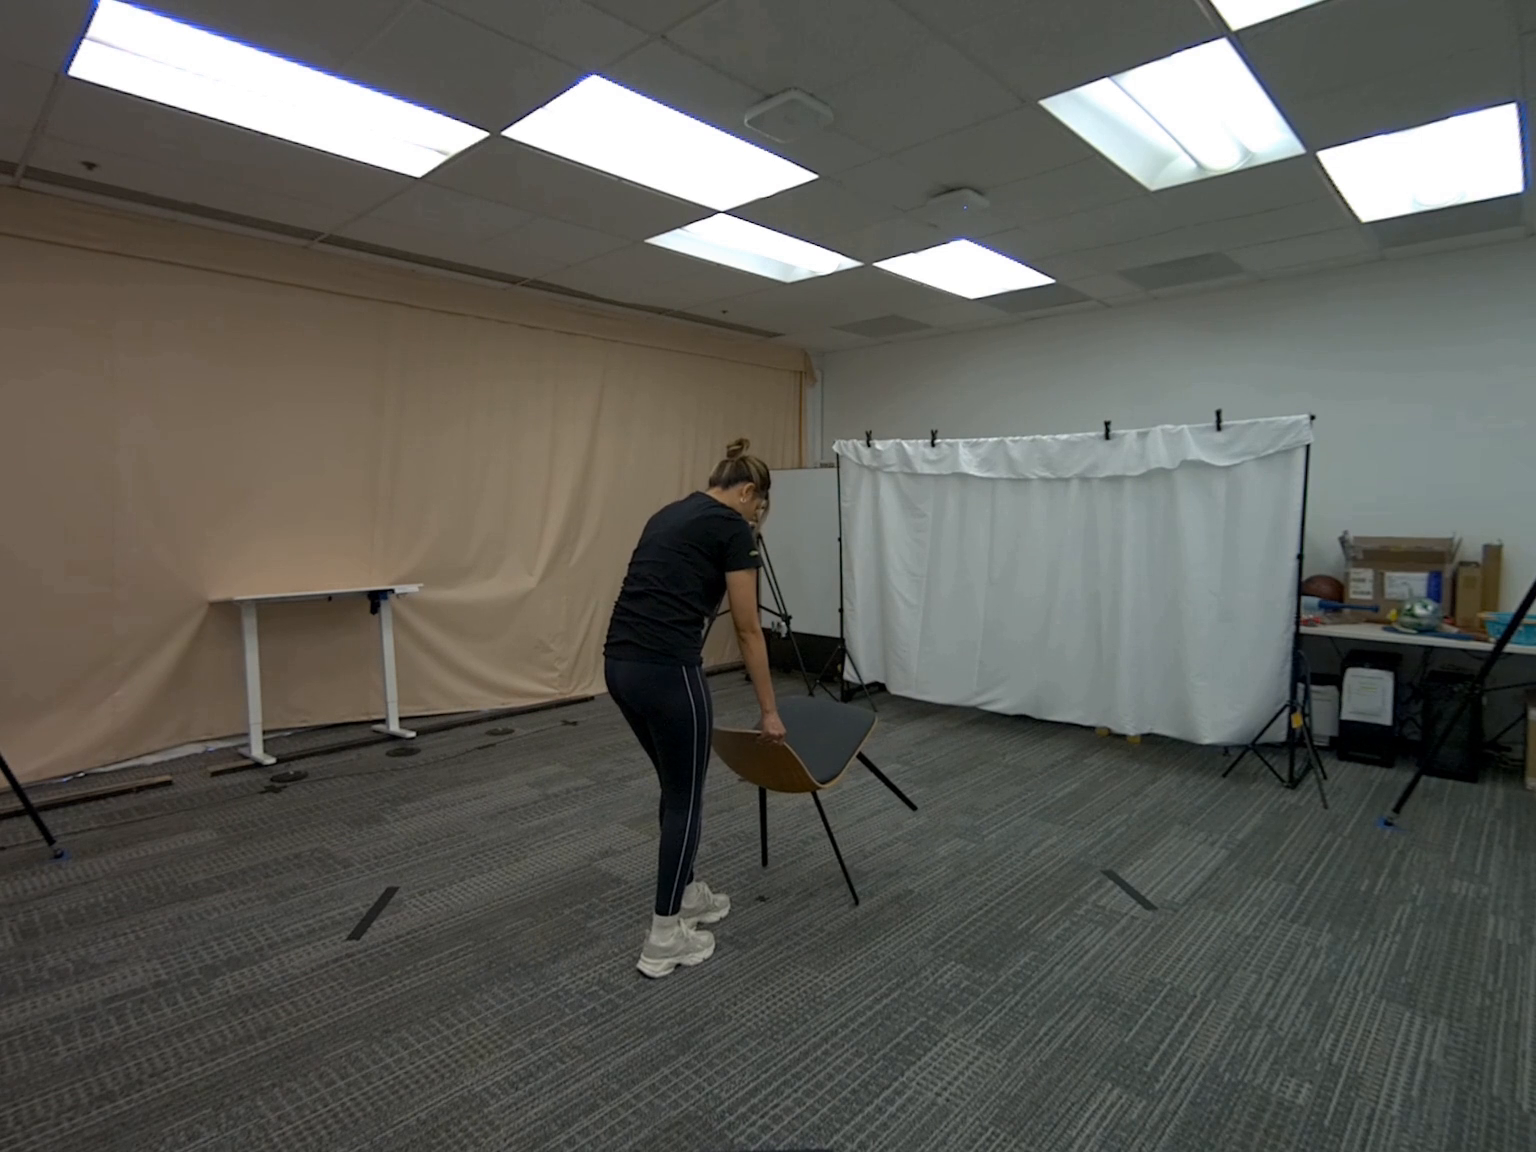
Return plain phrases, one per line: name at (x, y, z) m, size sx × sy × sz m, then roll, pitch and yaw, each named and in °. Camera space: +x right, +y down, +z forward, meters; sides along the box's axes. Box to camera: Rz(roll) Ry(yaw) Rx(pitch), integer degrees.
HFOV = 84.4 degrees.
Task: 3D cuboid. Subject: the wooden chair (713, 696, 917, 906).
wooden chair at (0.134, 0.650, 3.043) m, size 0.494 × 0.854 × 0.519 m, roll 4°, pitch 41°, yaw 44°
